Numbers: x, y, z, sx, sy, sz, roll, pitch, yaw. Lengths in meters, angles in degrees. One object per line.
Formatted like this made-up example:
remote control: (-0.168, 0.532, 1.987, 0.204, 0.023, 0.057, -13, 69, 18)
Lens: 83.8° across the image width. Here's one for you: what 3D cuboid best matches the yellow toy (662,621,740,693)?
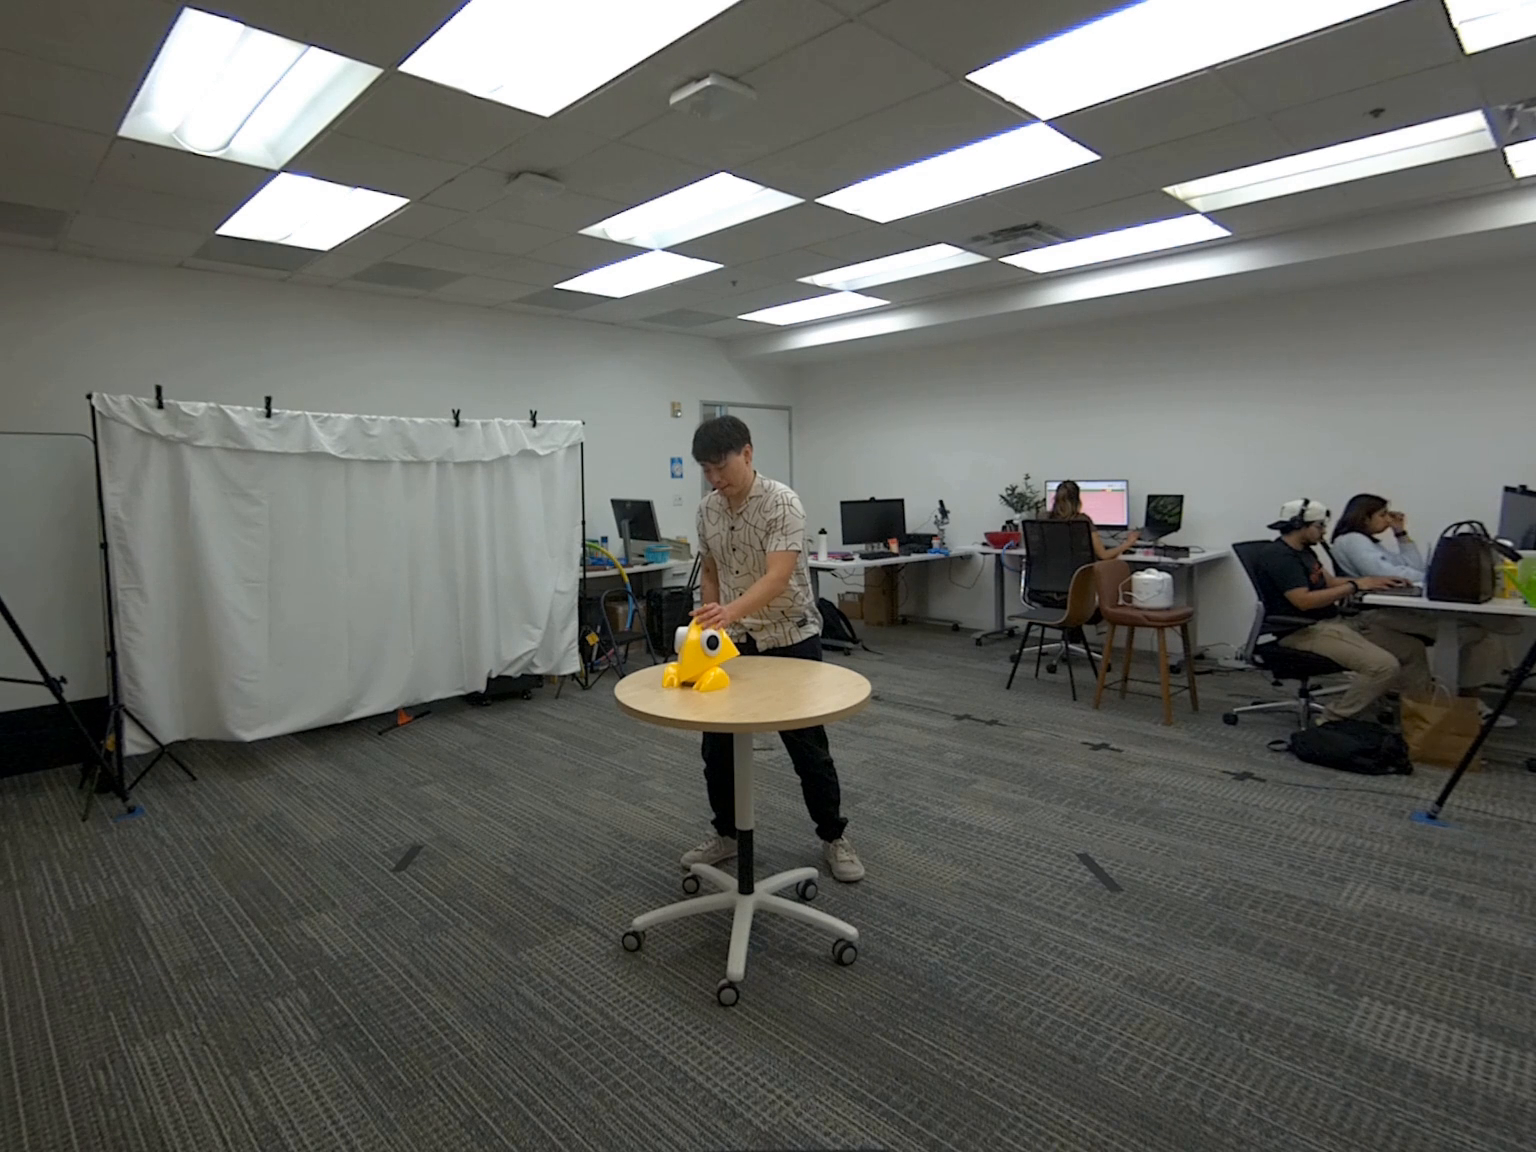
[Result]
yellow toy: (-0.215, 0.216, 2.594, 0.210, 0.230, 0.189, 2, 6, 28)
